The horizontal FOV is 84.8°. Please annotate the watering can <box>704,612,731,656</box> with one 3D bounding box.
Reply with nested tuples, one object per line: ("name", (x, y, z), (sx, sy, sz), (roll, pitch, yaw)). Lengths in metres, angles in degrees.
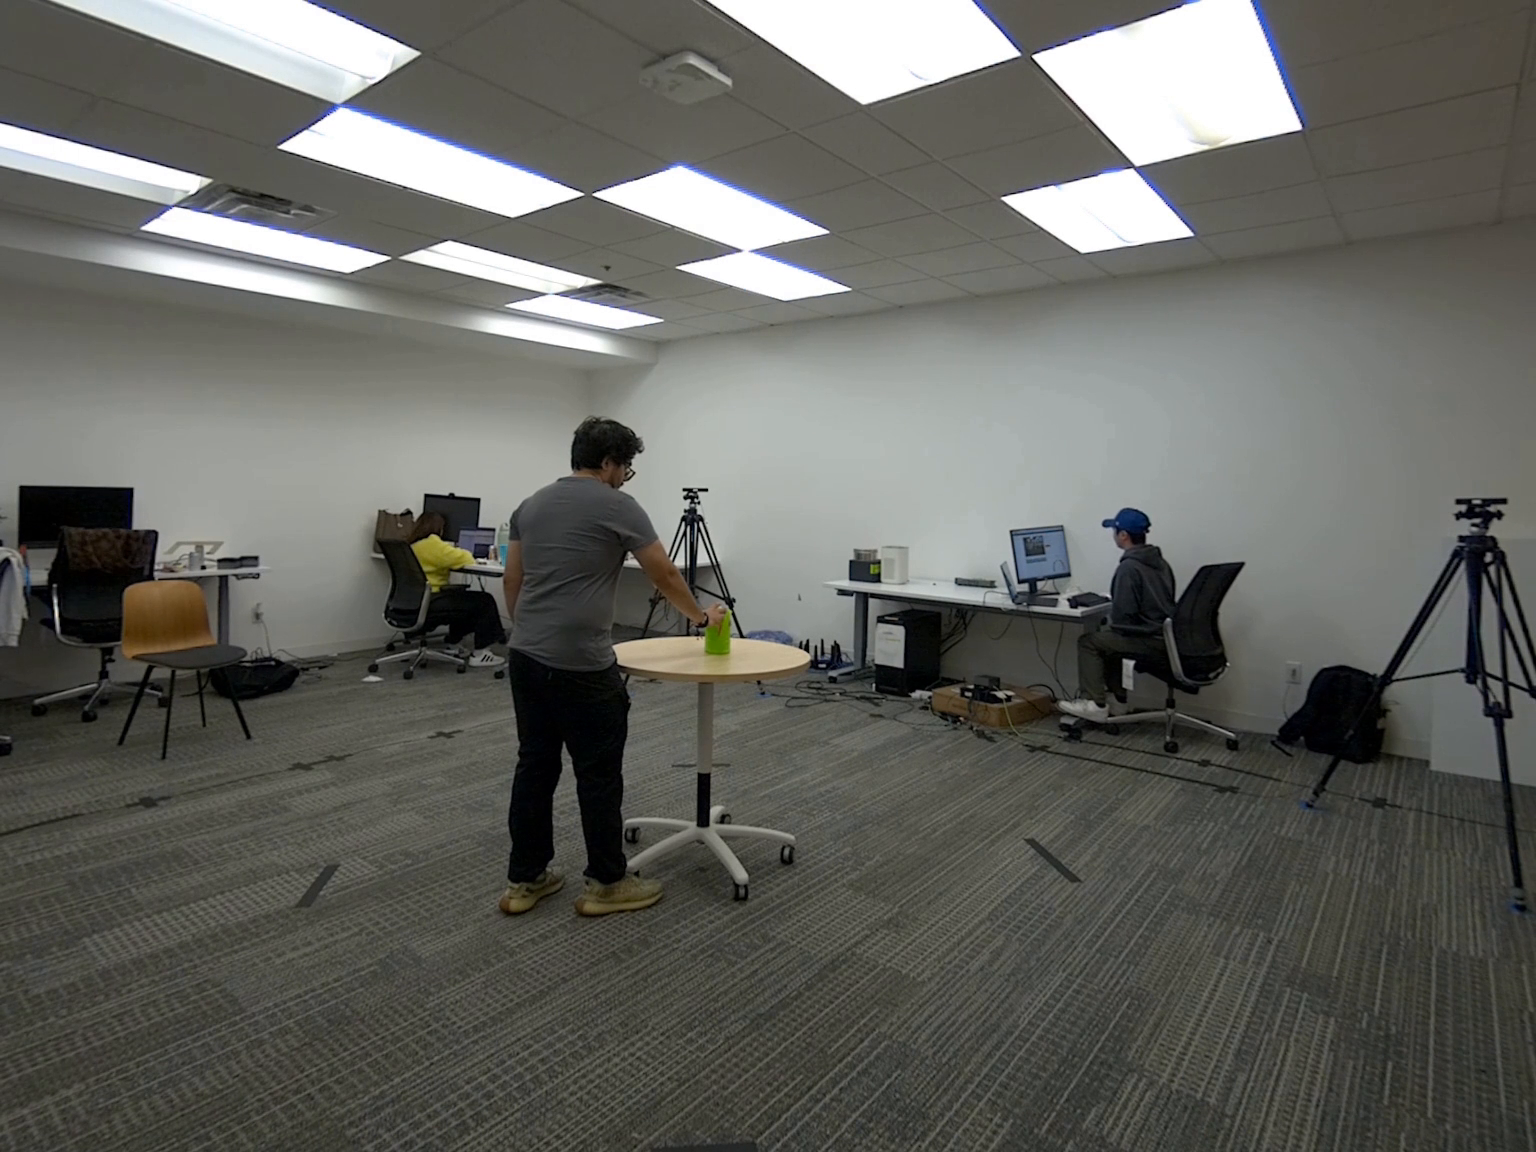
("watering can", (-0.192, 0.202, 3.139), (0.097, 0.177, 0.280), (1, 2, -7))
